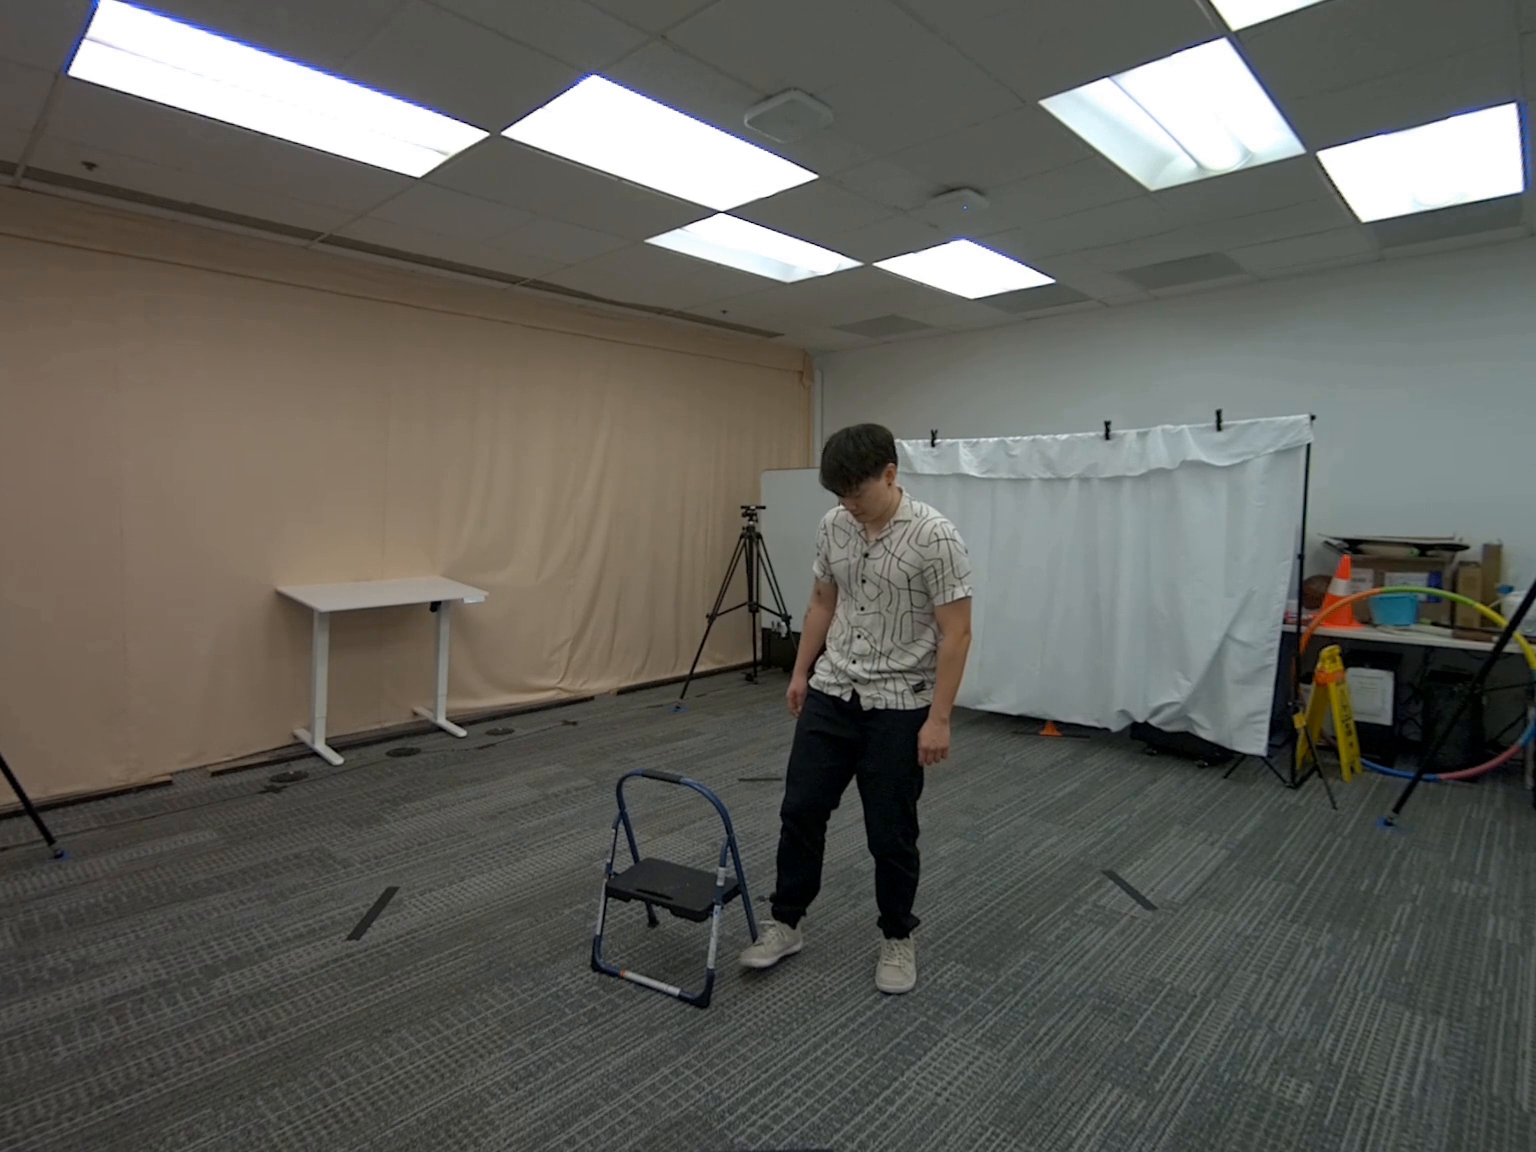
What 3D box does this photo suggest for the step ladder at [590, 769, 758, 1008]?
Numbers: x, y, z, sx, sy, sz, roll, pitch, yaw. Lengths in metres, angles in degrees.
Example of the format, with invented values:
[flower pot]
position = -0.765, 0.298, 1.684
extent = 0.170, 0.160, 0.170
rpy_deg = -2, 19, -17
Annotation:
[step ladder]
position = -0.276, 0.881, 2.561
extent = 0.442, 0.605, 0.340
rpy_deg = 1, 3, 28
